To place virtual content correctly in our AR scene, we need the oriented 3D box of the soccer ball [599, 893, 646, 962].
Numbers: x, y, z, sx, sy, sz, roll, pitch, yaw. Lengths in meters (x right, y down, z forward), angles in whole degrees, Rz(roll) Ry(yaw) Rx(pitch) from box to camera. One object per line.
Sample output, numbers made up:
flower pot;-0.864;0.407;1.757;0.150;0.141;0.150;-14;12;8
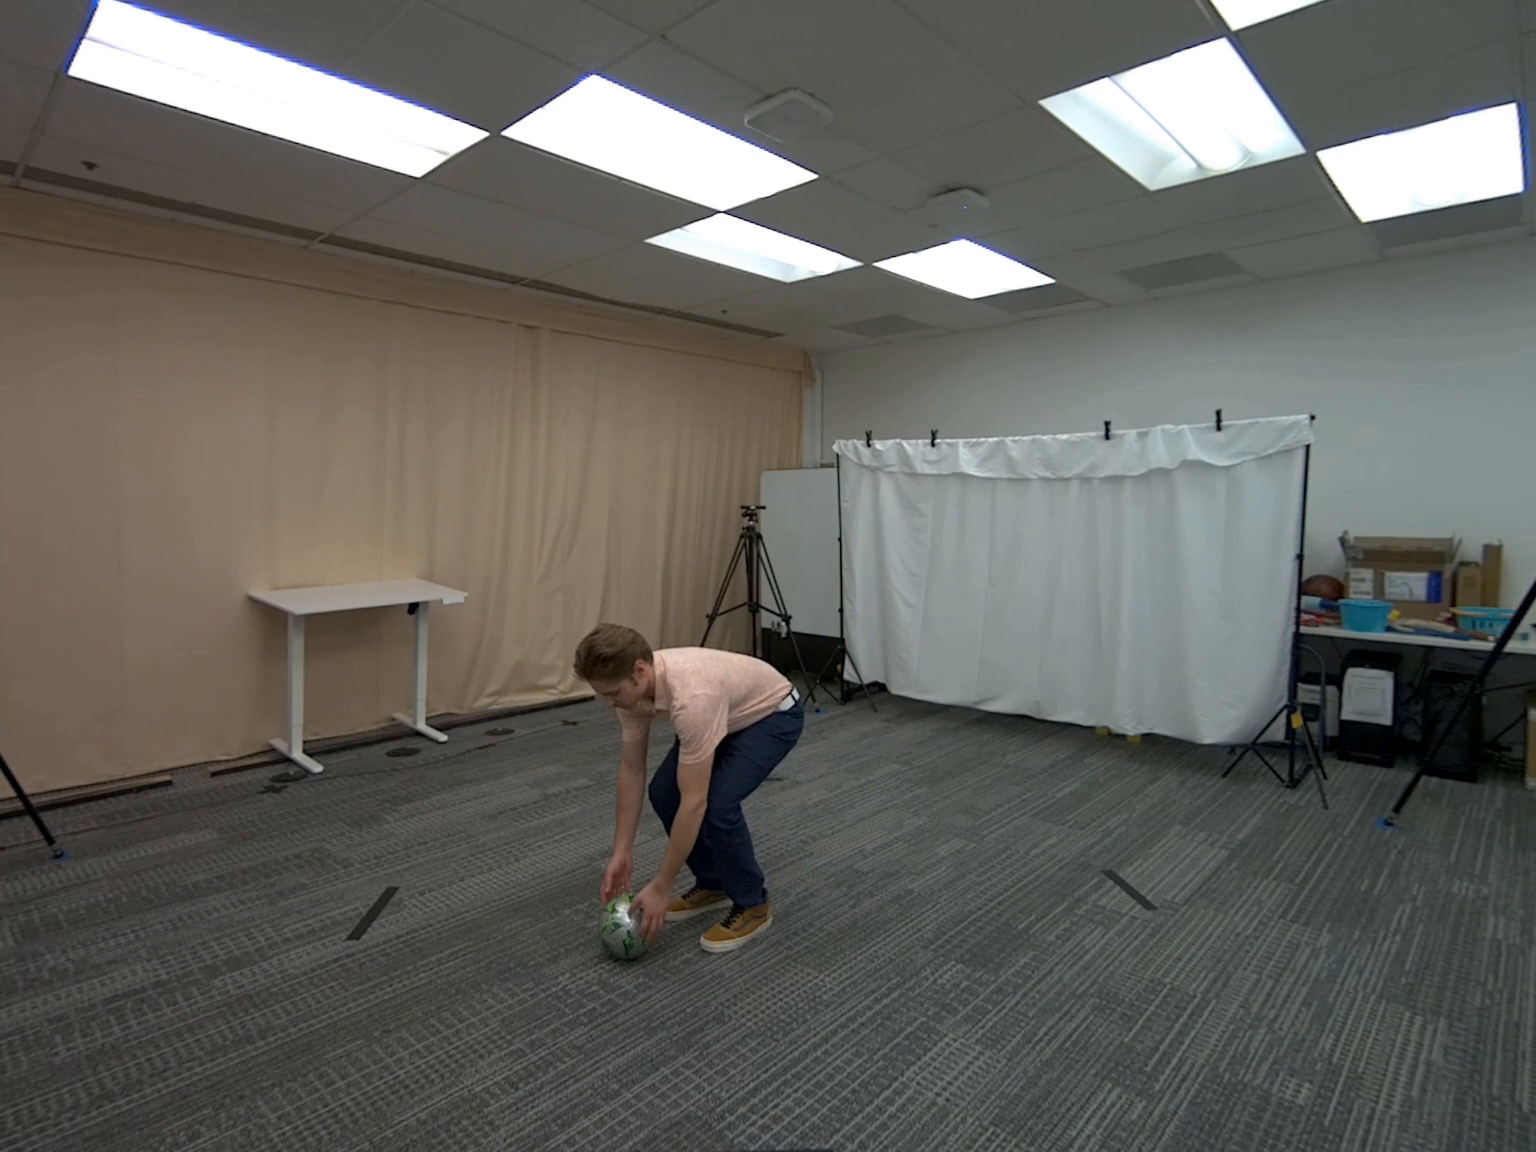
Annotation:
soccer ball;-0.434;1.091;2.608;0.187;0.187;0.188;0;4;-2
